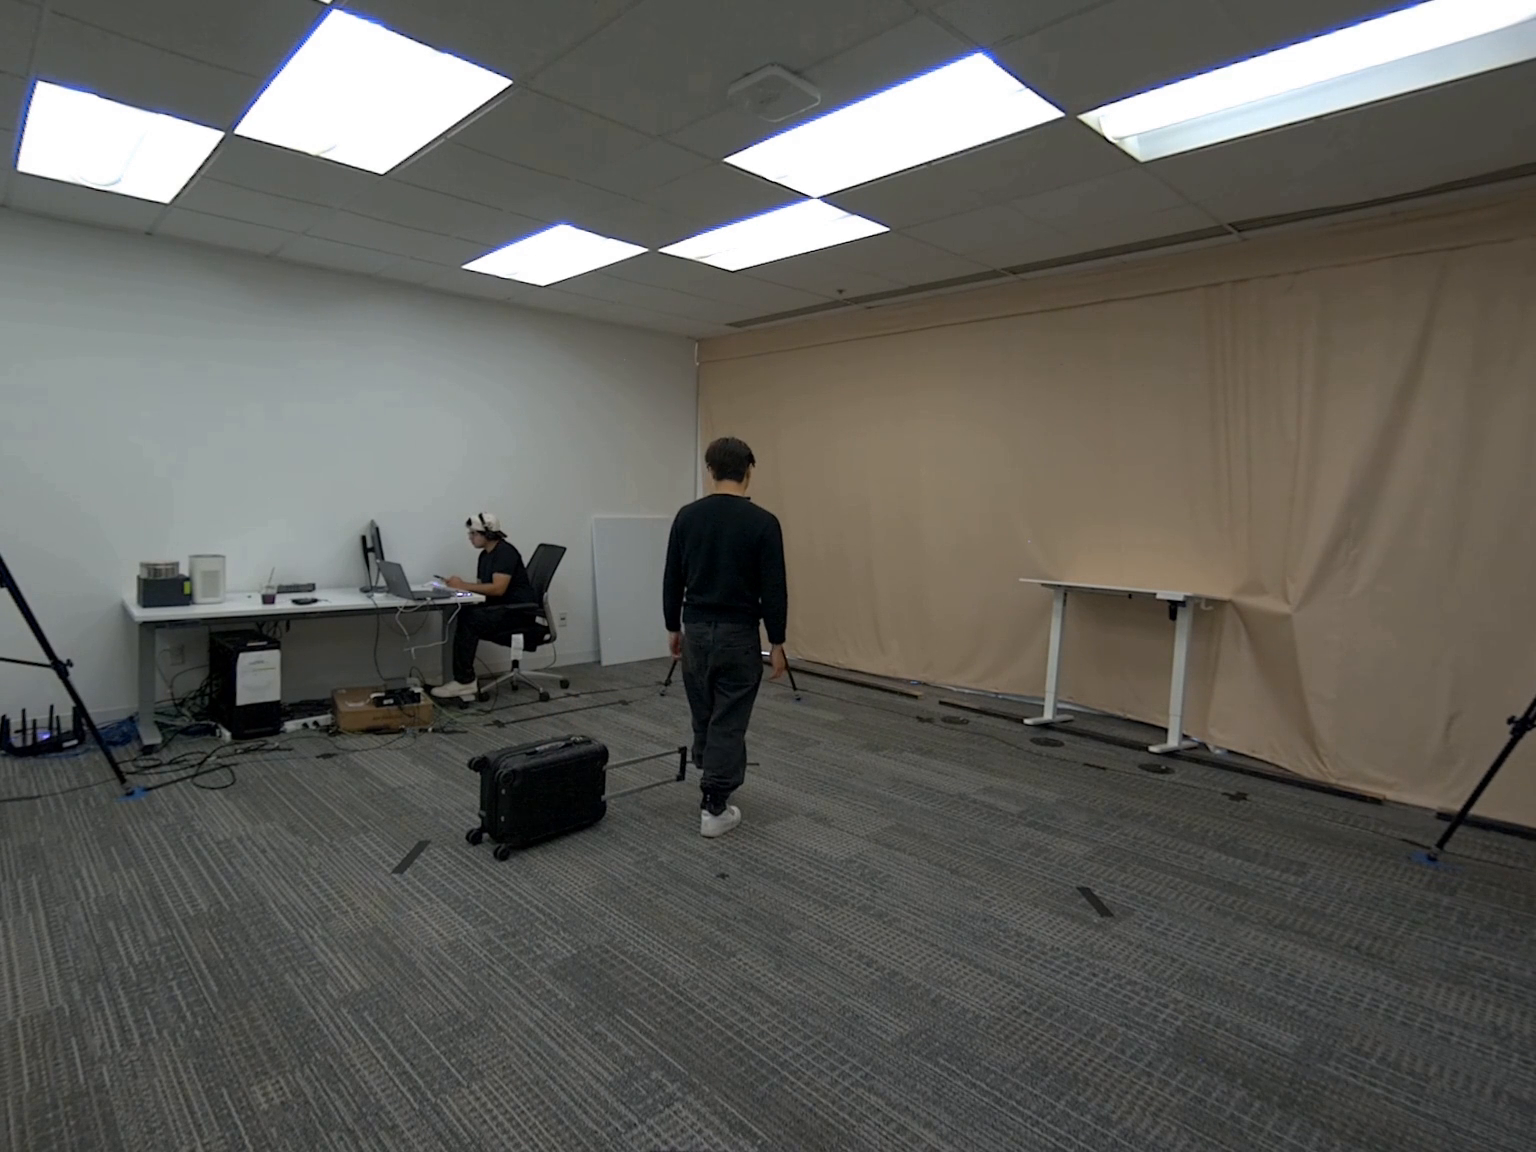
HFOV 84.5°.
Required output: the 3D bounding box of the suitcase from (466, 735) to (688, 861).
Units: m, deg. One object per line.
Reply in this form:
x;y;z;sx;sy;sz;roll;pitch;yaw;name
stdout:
-0.801;0.863;3.592;0.263;0.383;0.957;5;6;40;suitcase
